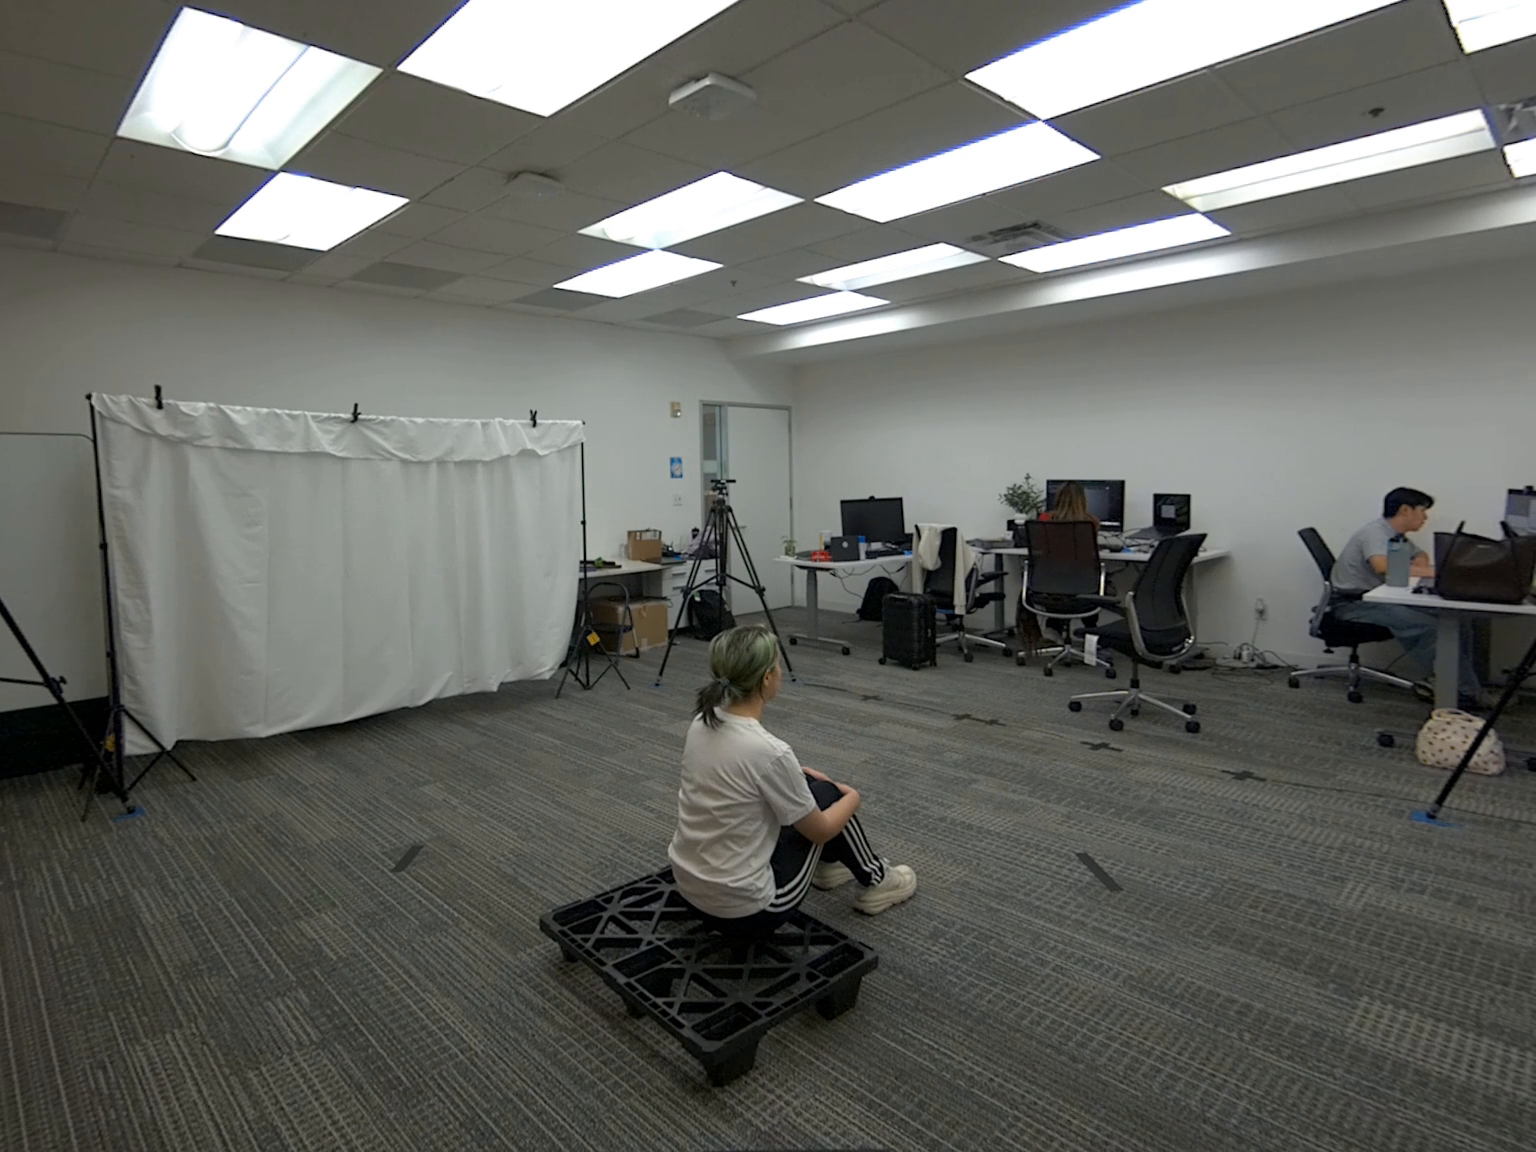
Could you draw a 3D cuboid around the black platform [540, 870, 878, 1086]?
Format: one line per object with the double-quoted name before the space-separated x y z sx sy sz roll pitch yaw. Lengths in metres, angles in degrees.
"black platform" -0.185 1.066 2.398 0.589 0.142 0.831 -6 9 -40
